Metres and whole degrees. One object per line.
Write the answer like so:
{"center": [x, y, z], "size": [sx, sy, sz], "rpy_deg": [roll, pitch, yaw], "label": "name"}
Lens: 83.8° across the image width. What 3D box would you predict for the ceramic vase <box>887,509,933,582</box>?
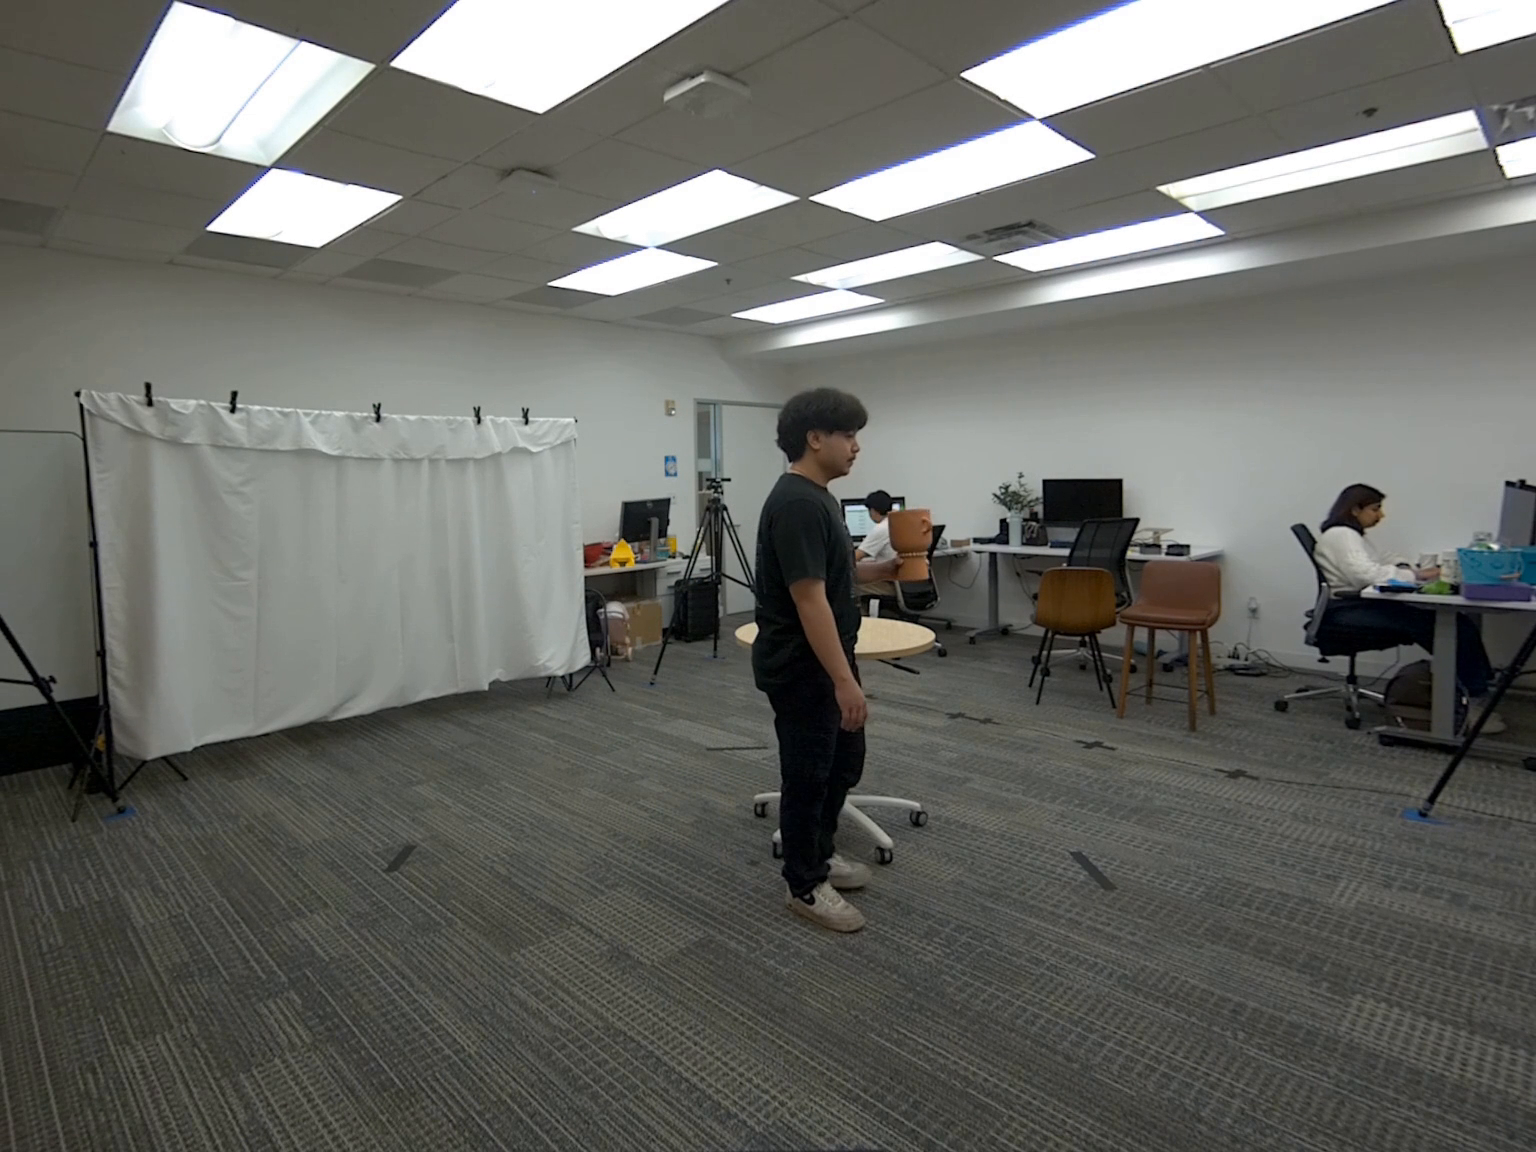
{"center": [0.453, -0.098, 2.707], "size": [0.136, 0.219, 0.158], "rpy_deg": [-4, 4, 11], "label": "ceramic vase"}
